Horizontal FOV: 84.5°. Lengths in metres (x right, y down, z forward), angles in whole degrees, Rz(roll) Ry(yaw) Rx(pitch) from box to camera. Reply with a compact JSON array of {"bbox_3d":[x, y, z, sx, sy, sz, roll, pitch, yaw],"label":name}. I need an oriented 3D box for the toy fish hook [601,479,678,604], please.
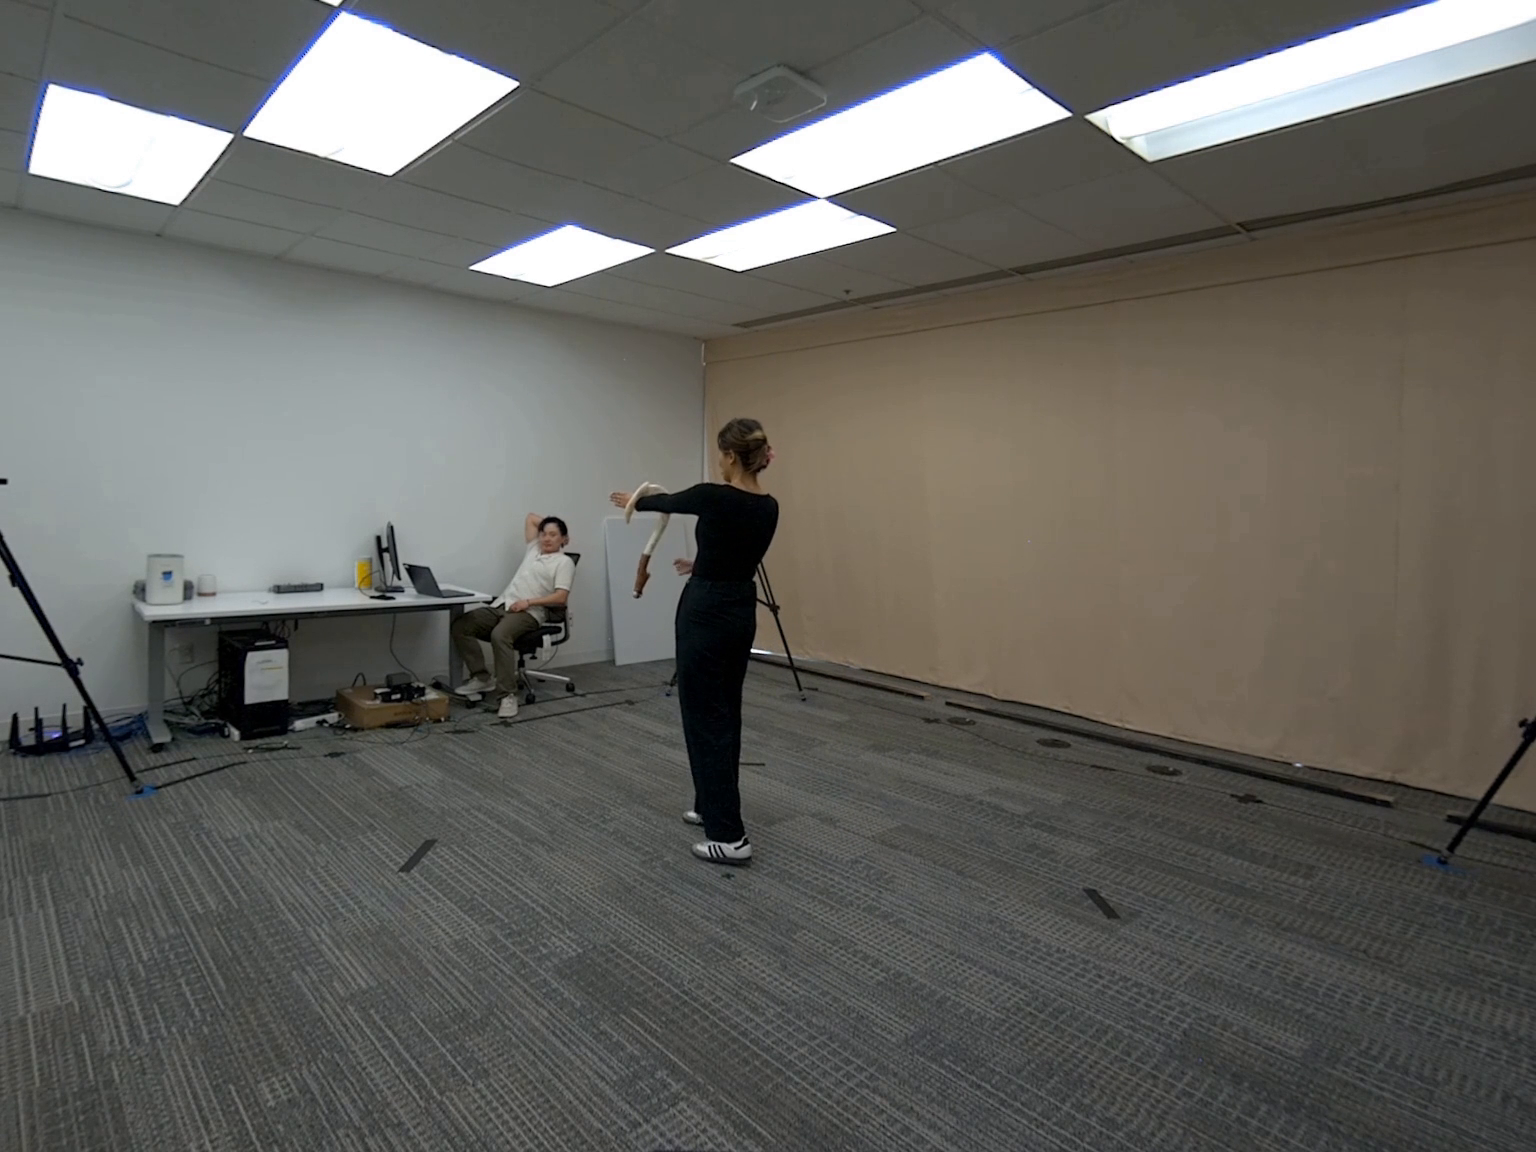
[{"bbox_3d":[-0.561,-0.150,3.683,0.219,0.506,0.049,13,0,-33],"label":"toy fish hook"}]
